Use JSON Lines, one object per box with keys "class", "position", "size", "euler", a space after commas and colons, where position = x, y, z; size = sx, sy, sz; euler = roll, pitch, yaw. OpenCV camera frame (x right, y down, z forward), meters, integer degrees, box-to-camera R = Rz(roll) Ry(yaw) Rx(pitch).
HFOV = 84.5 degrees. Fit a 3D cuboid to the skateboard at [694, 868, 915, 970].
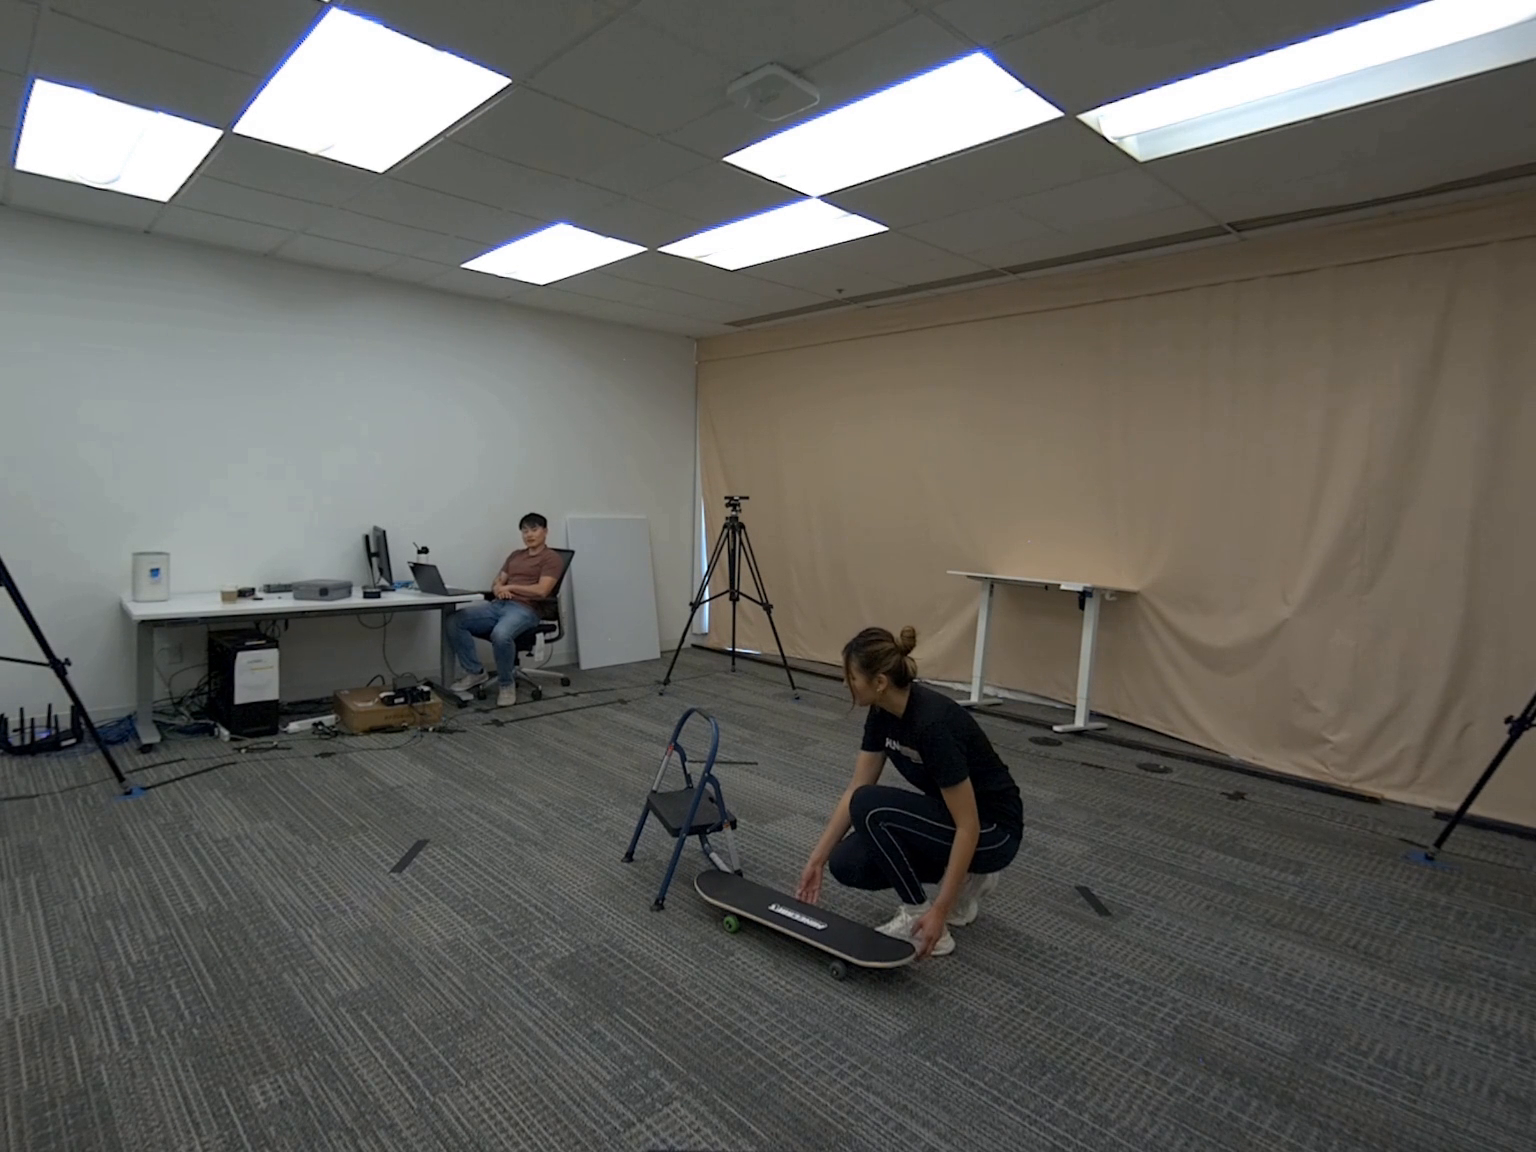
{"class": "skateboard", "position": [0.084, 1.096, 2.627], "size": [0.805, 0.110, 0.189], "euler": [5, 6, 37]}
